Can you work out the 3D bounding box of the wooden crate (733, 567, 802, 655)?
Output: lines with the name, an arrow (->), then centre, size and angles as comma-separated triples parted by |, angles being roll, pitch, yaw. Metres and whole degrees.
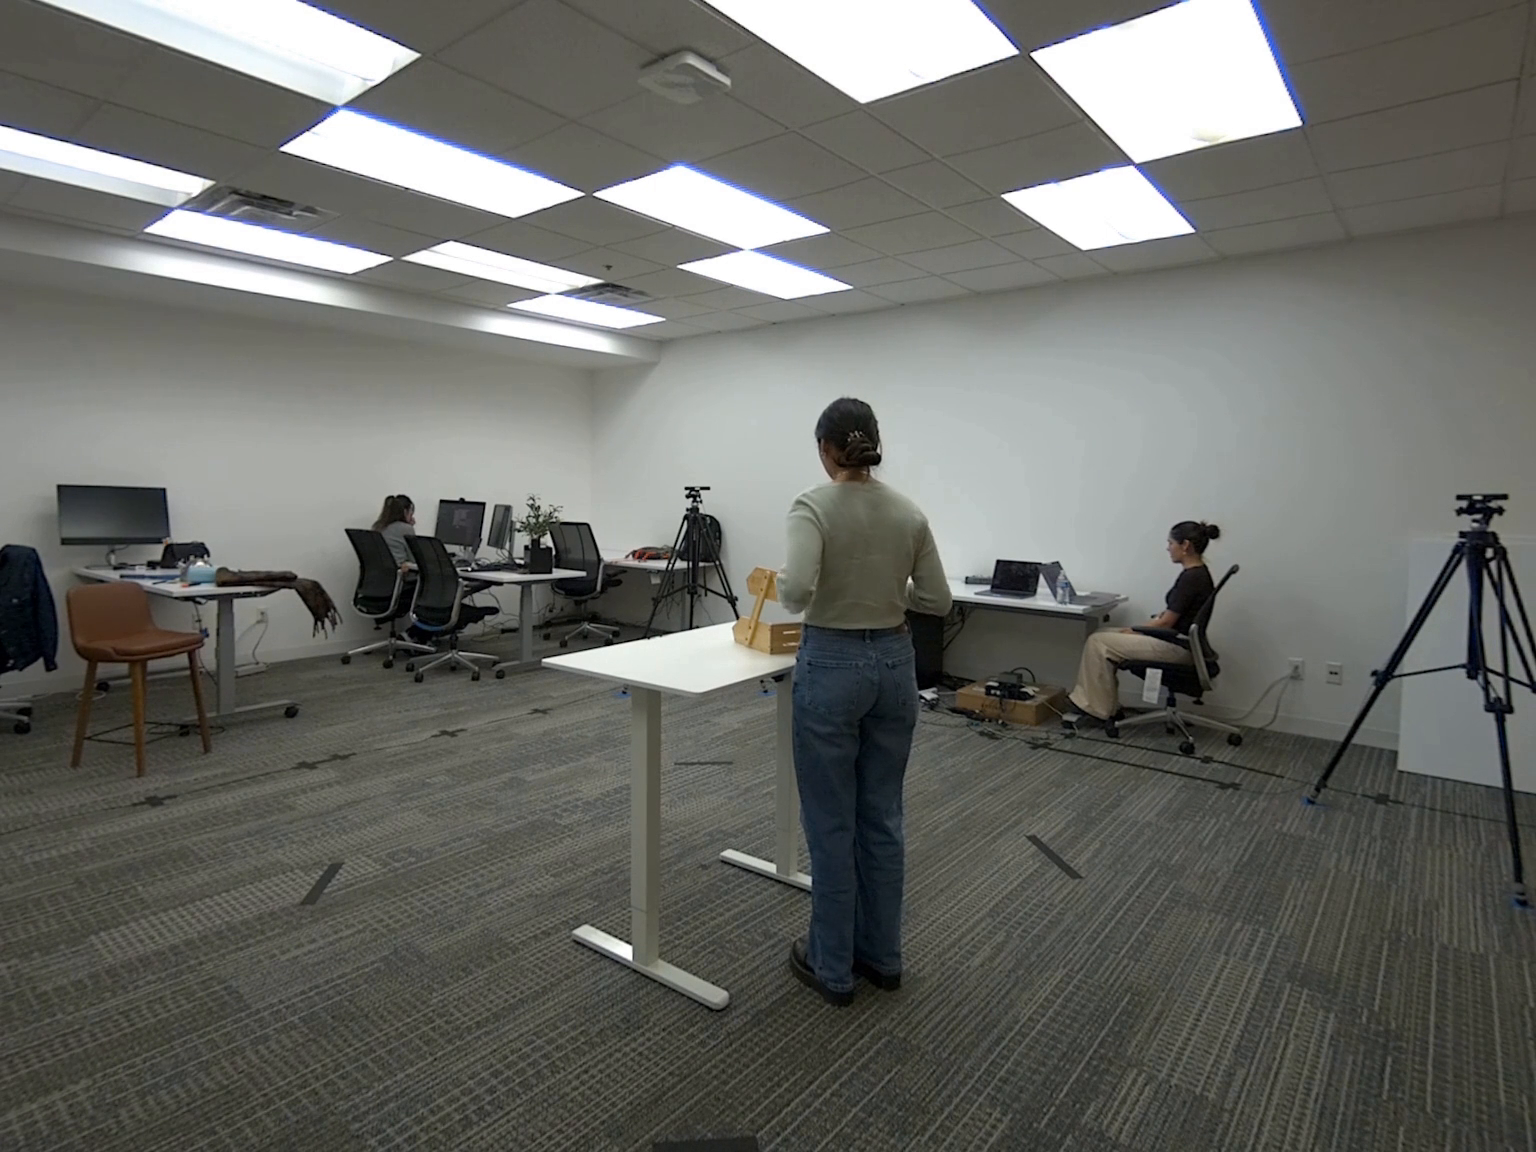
wooden crate -> 0.081, 0.090, 2.739 | 0.316, 0.272, 0.311 | -2, 6, -28
